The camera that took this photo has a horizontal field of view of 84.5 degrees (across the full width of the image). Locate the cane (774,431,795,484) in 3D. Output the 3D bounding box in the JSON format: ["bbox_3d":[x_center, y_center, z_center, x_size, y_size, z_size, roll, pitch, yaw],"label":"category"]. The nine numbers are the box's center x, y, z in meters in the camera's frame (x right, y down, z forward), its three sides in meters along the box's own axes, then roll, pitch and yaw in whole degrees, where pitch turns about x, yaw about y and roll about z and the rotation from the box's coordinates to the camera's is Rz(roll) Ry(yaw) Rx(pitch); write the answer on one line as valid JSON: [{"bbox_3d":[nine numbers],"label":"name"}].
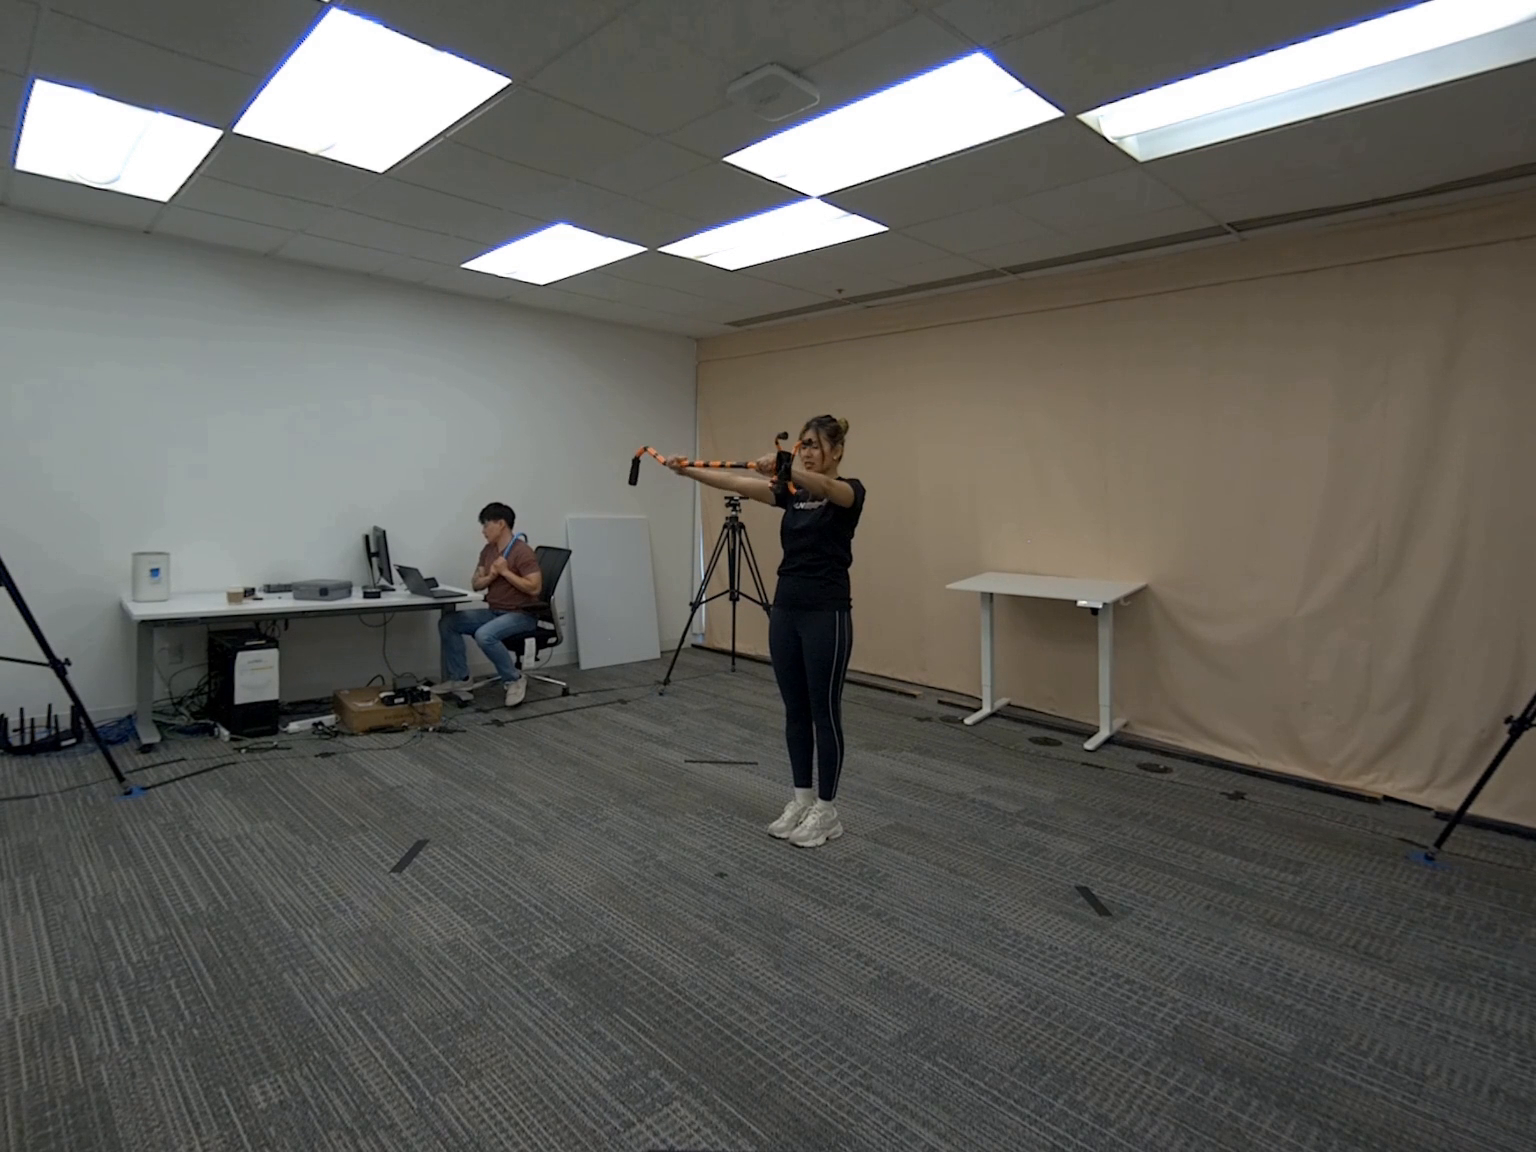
[{"bbox_3d":[-0.245,-0.425,3.135,0.147,0.206,0.932,8,1,-44],"label":"cane"}]
